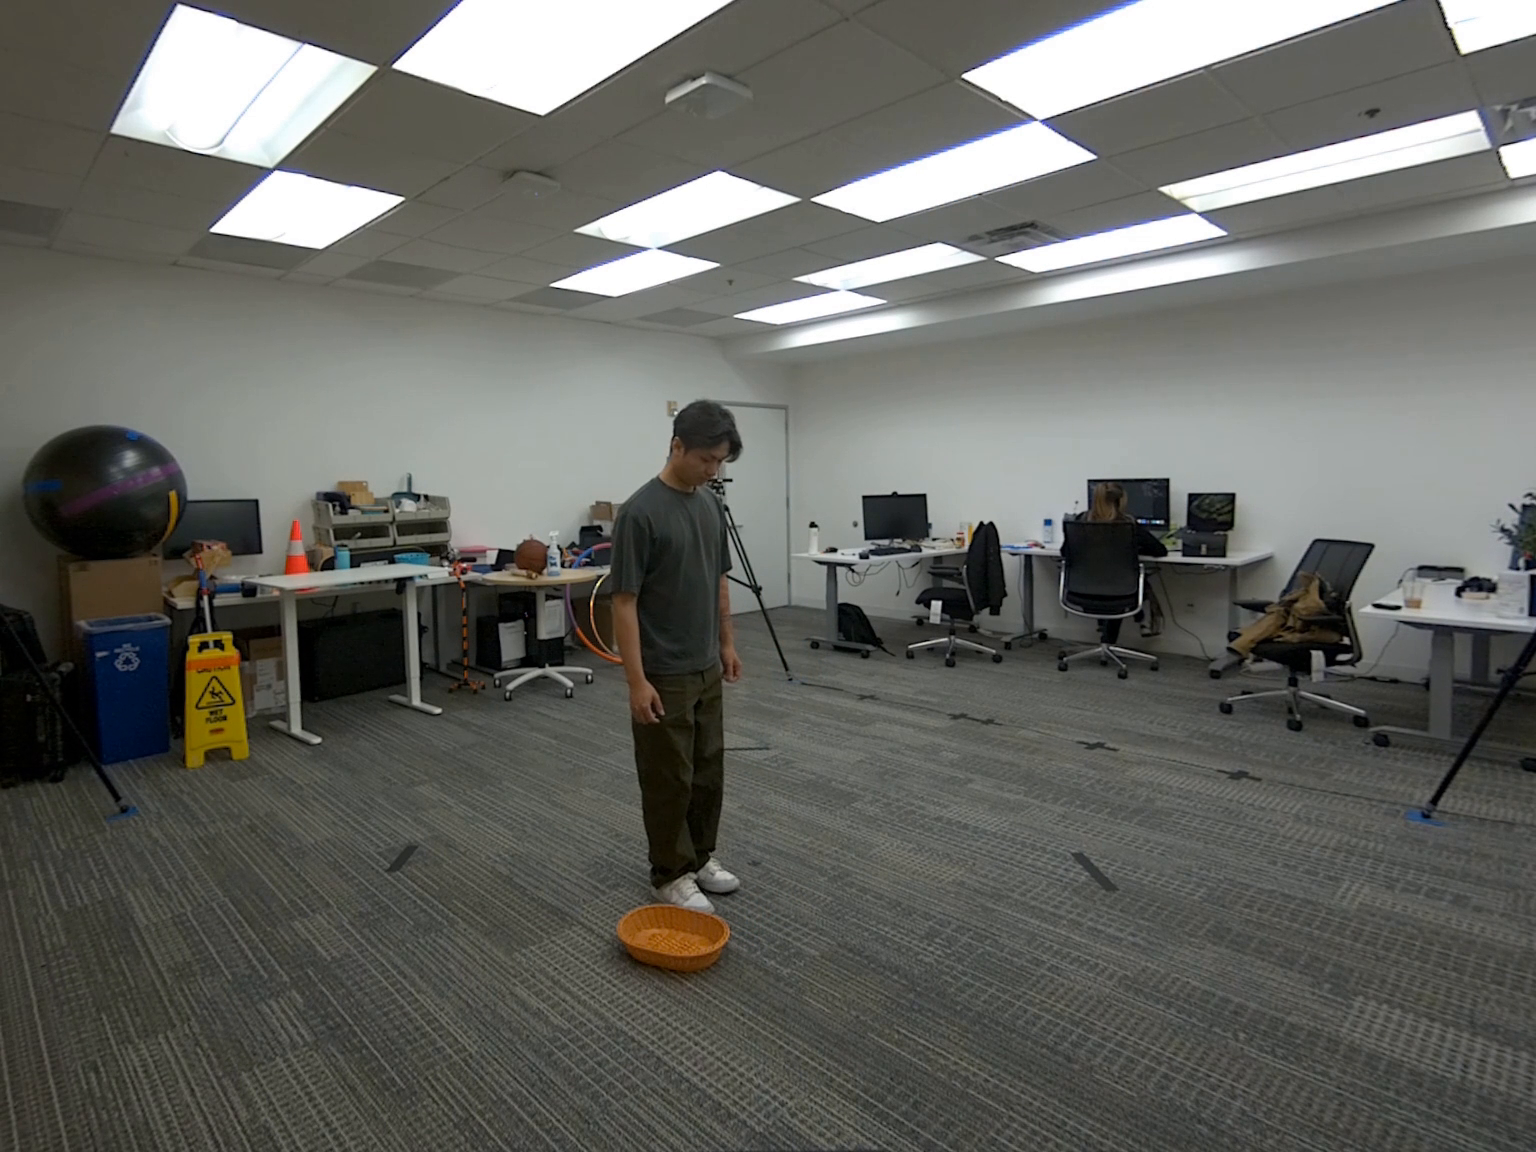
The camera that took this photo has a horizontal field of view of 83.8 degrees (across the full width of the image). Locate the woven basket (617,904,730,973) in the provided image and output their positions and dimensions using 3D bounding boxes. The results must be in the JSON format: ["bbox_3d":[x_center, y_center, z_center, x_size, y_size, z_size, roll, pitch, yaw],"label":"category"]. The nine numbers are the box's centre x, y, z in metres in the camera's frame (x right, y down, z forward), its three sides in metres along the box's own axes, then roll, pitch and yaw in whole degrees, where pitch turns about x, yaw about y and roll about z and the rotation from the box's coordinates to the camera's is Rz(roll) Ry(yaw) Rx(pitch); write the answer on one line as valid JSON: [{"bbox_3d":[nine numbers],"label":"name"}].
[{"bbox_3d":[-0.278,1.081,2.537,0.359,0.073,0.247,2,7,28],"label":"woven basket"}]
